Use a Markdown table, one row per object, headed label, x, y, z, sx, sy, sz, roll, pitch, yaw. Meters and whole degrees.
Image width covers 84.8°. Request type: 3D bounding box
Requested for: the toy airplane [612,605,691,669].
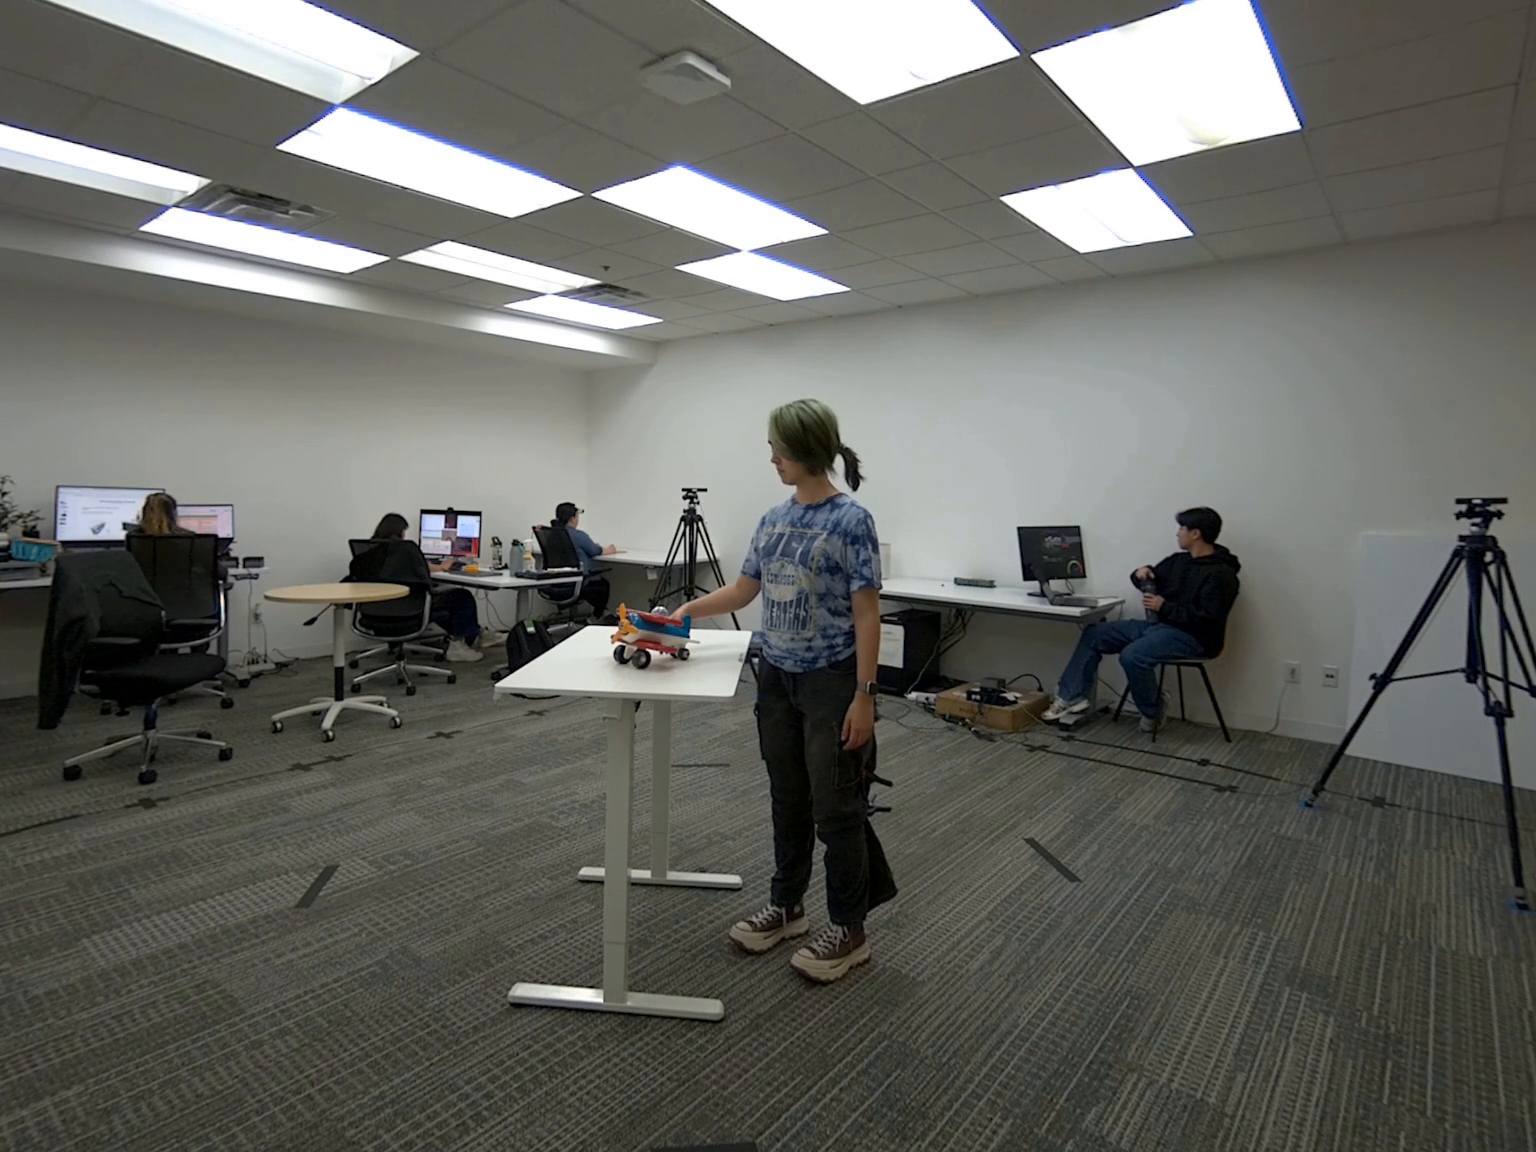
| label | x | y | z | sx | sy | sz | roll | pitch | yaw |
| --- | --- | --- | --- | --- | --- | --- | --- | --- | --- |
| toy airplane | -0.347 | 0.171 | 2.472 | 0.256 | 0.156 | 0.255 | 2 | 6 | 17 |
